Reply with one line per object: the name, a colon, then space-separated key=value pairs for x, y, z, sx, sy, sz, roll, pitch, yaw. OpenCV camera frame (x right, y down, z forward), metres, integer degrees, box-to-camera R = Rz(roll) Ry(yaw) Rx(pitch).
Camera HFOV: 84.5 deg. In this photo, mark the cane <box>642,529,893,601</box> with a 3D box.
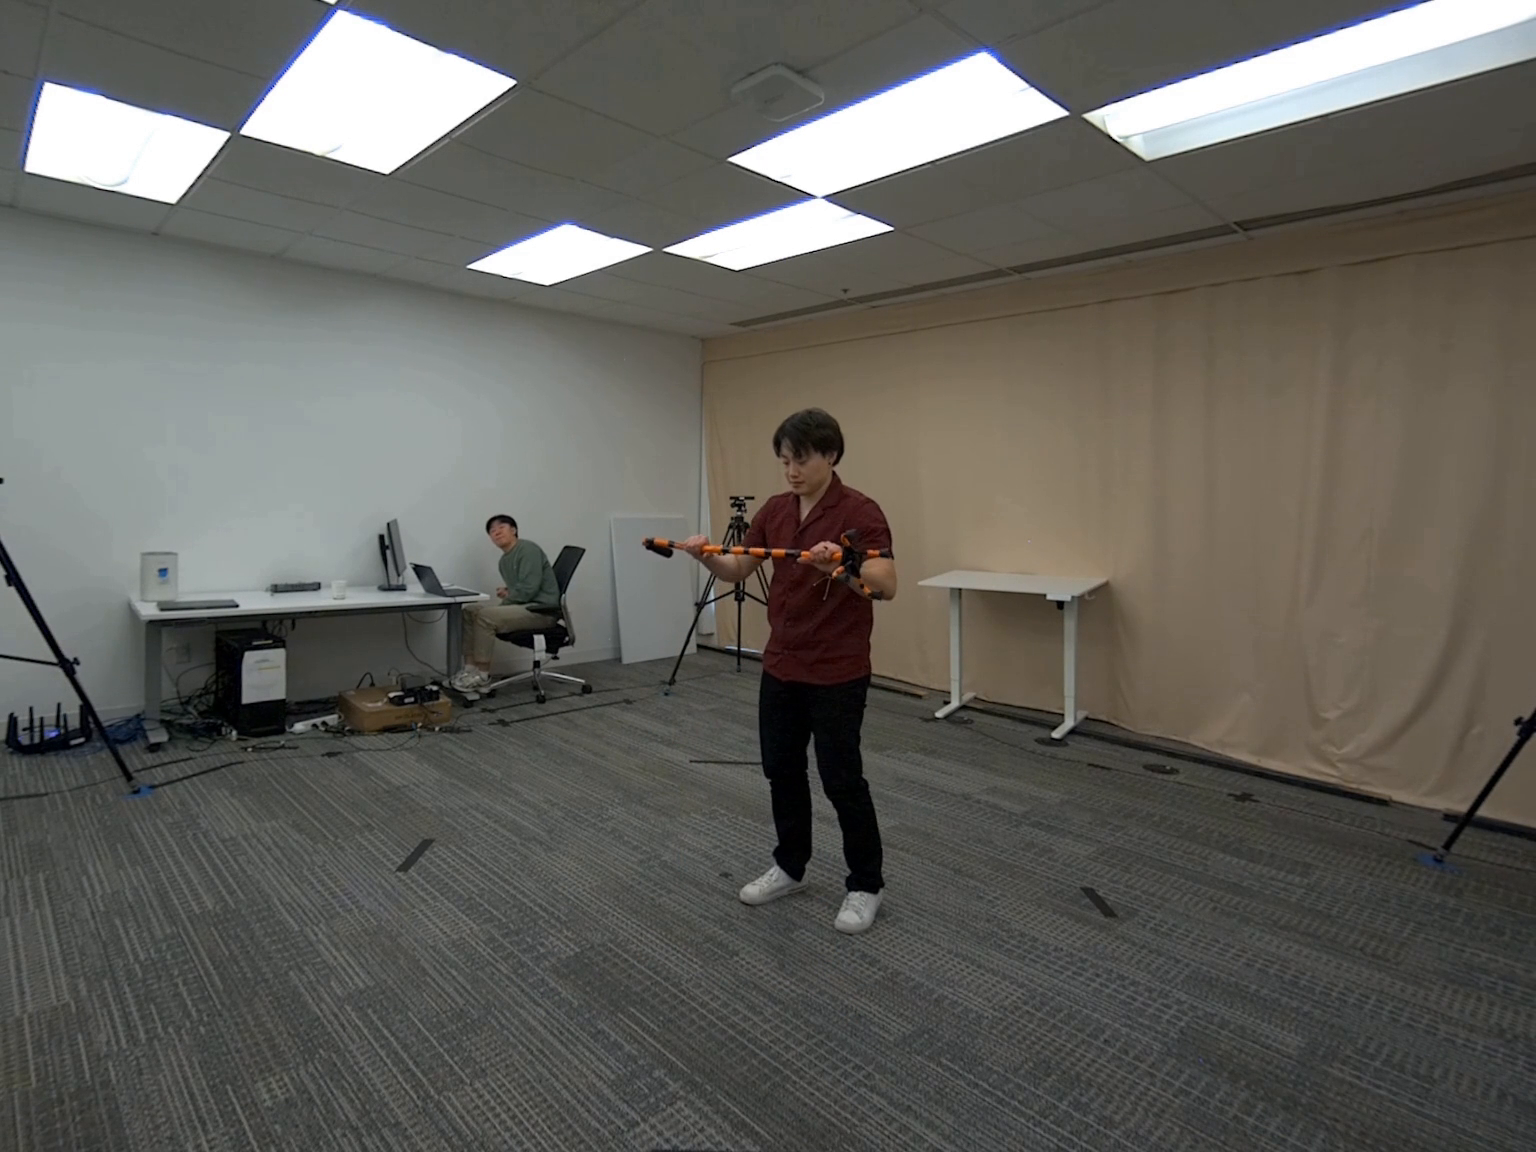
cane: x=-0.091 y=-0.040 z=2.597 sx=0.931 sy=0.152 sz=0.200 roll=6 pitch=-12 yaw=42
